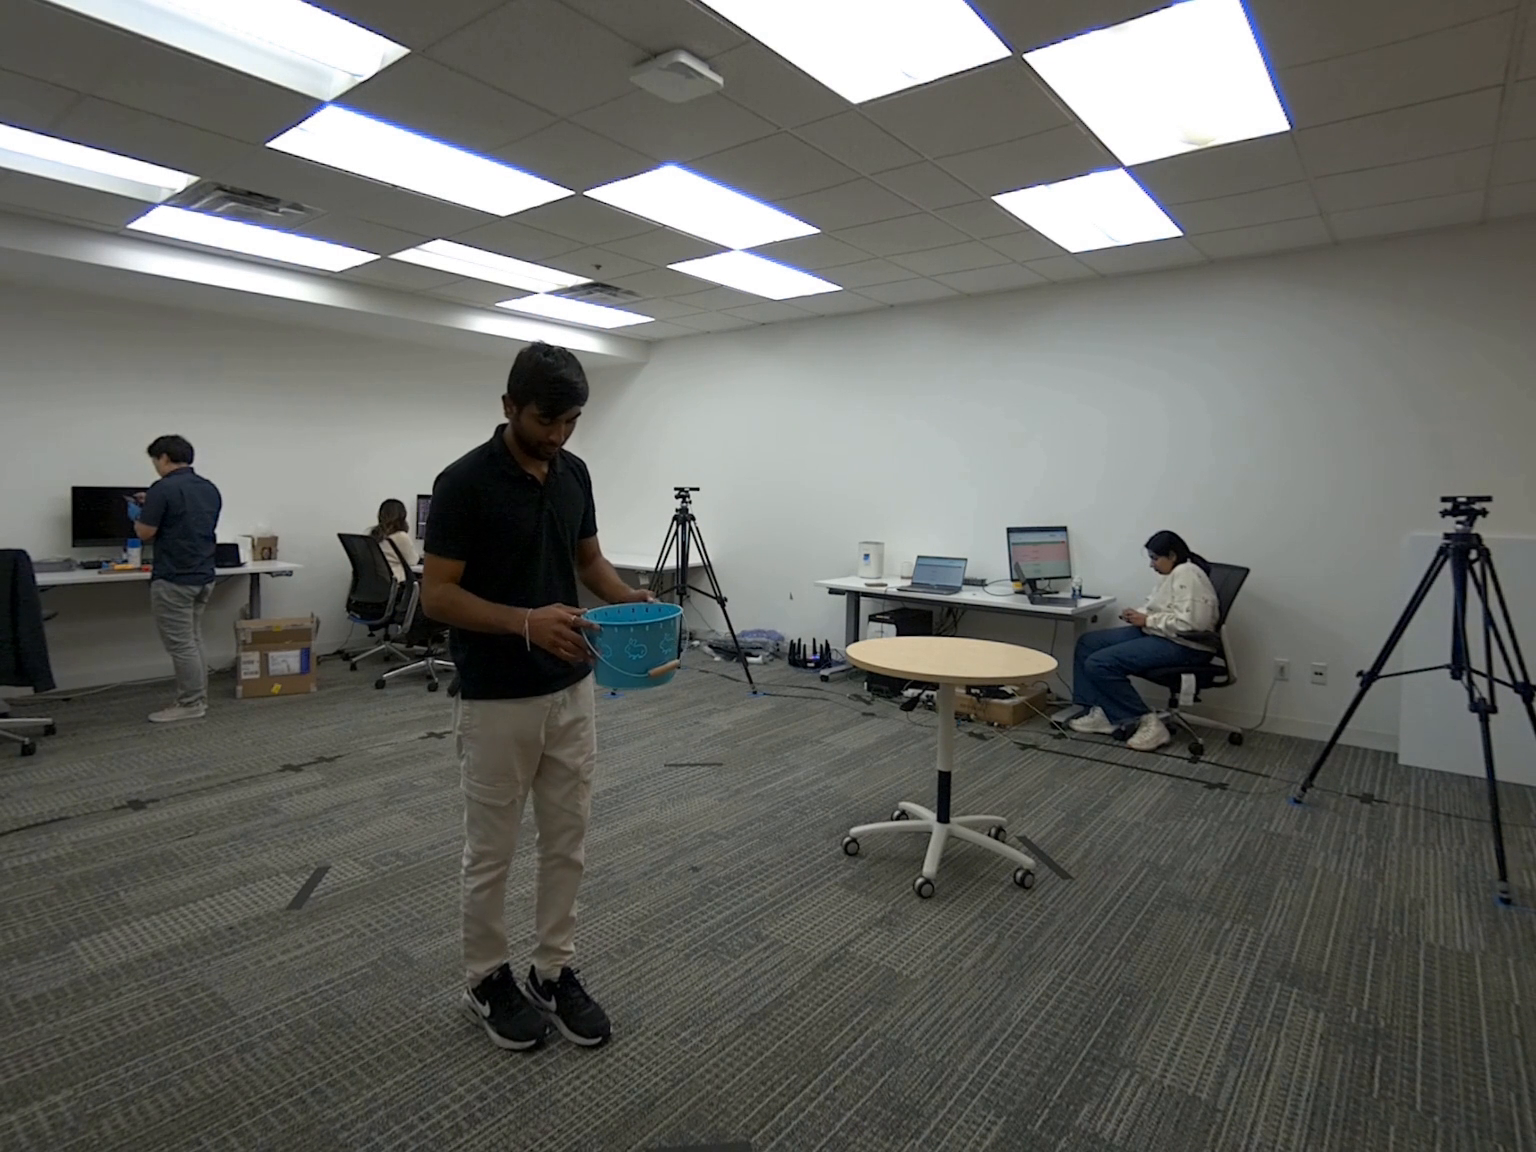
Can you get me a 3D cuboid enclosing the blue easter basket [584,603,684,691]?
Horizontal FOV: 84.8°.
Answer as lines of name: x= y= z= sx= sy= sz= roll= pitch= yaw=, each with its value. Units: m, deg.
blue easter basket: x=-0.314 y=0.171 z=1.894 sx=0.243 sy=0.155 sz=0.245 roll=-3 pitch=6 yaw=-2
